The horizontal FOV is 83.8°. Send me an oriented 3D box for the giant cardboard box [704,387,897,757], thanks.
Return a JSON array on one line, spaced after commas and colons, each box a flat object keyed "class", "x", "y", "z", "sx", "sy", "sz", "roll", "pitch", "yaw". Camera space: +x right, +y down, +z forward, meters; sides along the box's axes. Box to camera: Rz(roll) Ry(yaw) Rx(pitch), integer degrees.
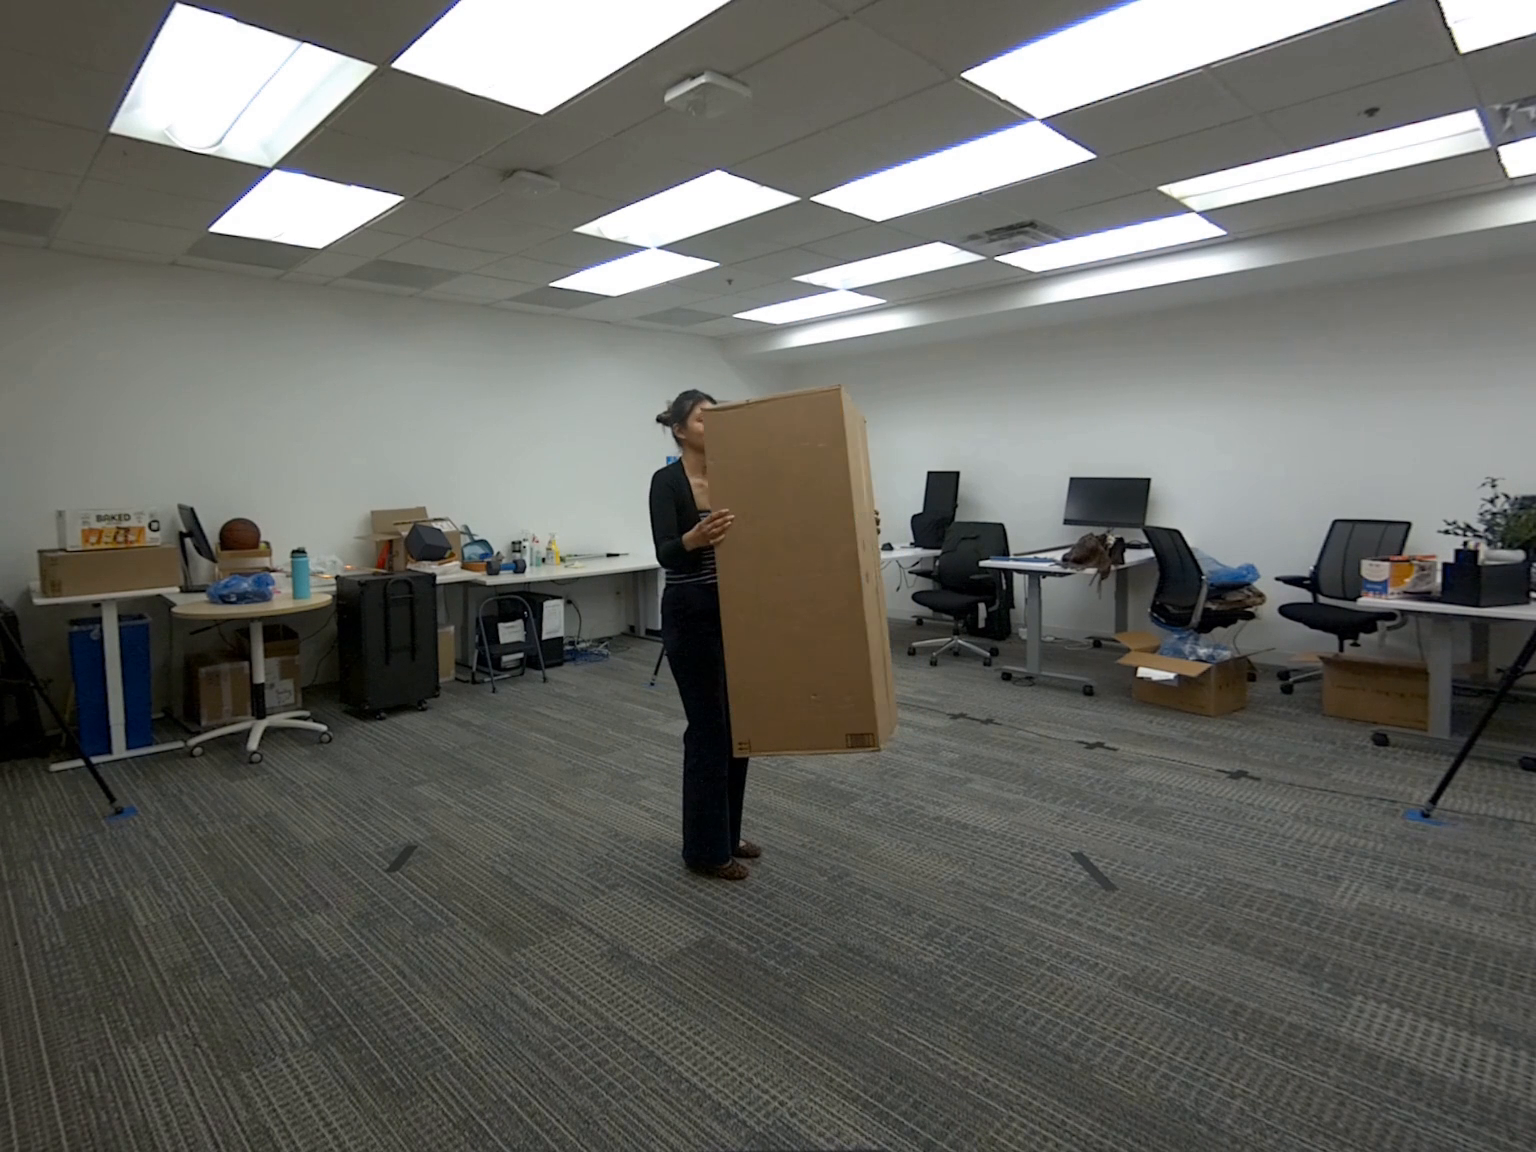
[{"class": "giant cardboard box", "x": 0.117, "y": -0.006, "z": 2.699, "sx": 0.432, "sy": 1.031, "sz": 0.568, "roll": -7, "pitch": -4, "yaw": 14}]
